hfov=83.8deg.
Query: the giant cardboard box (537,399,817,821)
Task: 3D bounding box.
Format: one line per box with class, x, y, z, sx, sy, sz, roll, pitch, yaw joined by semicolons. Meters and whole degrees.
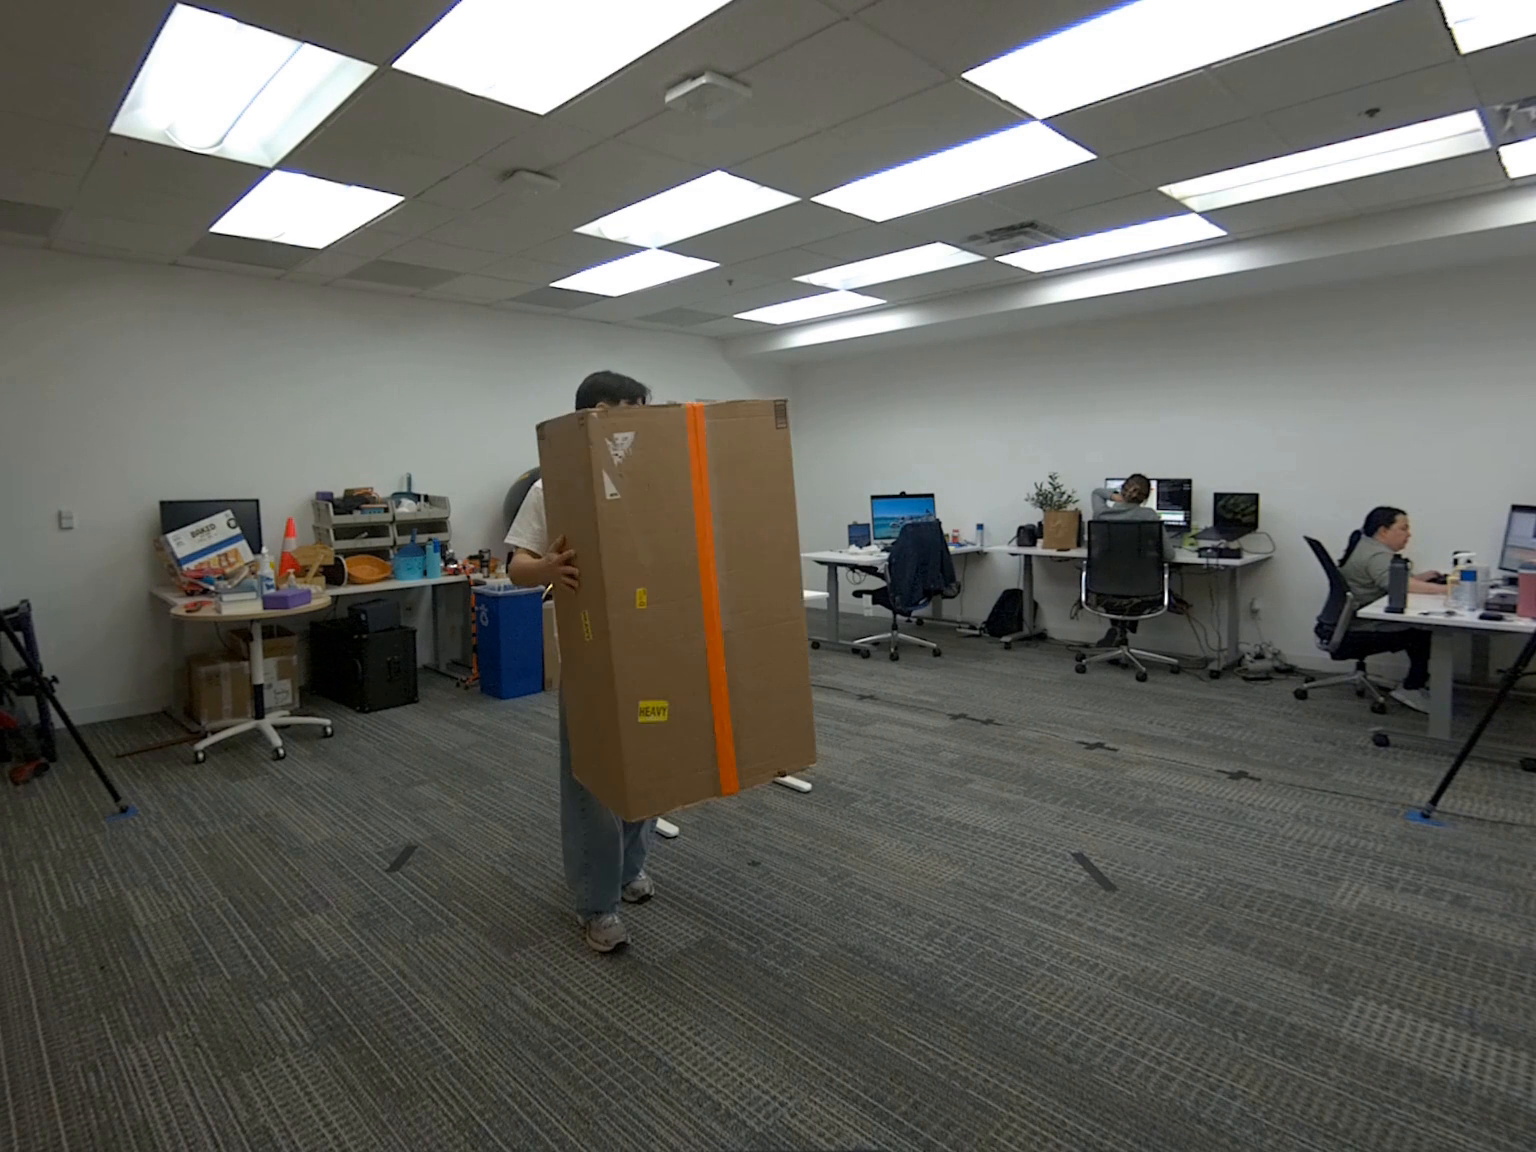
giant cardboard box;-0.246;0.052;2.373;0.565;1.021;0.437;-8;5;-30
